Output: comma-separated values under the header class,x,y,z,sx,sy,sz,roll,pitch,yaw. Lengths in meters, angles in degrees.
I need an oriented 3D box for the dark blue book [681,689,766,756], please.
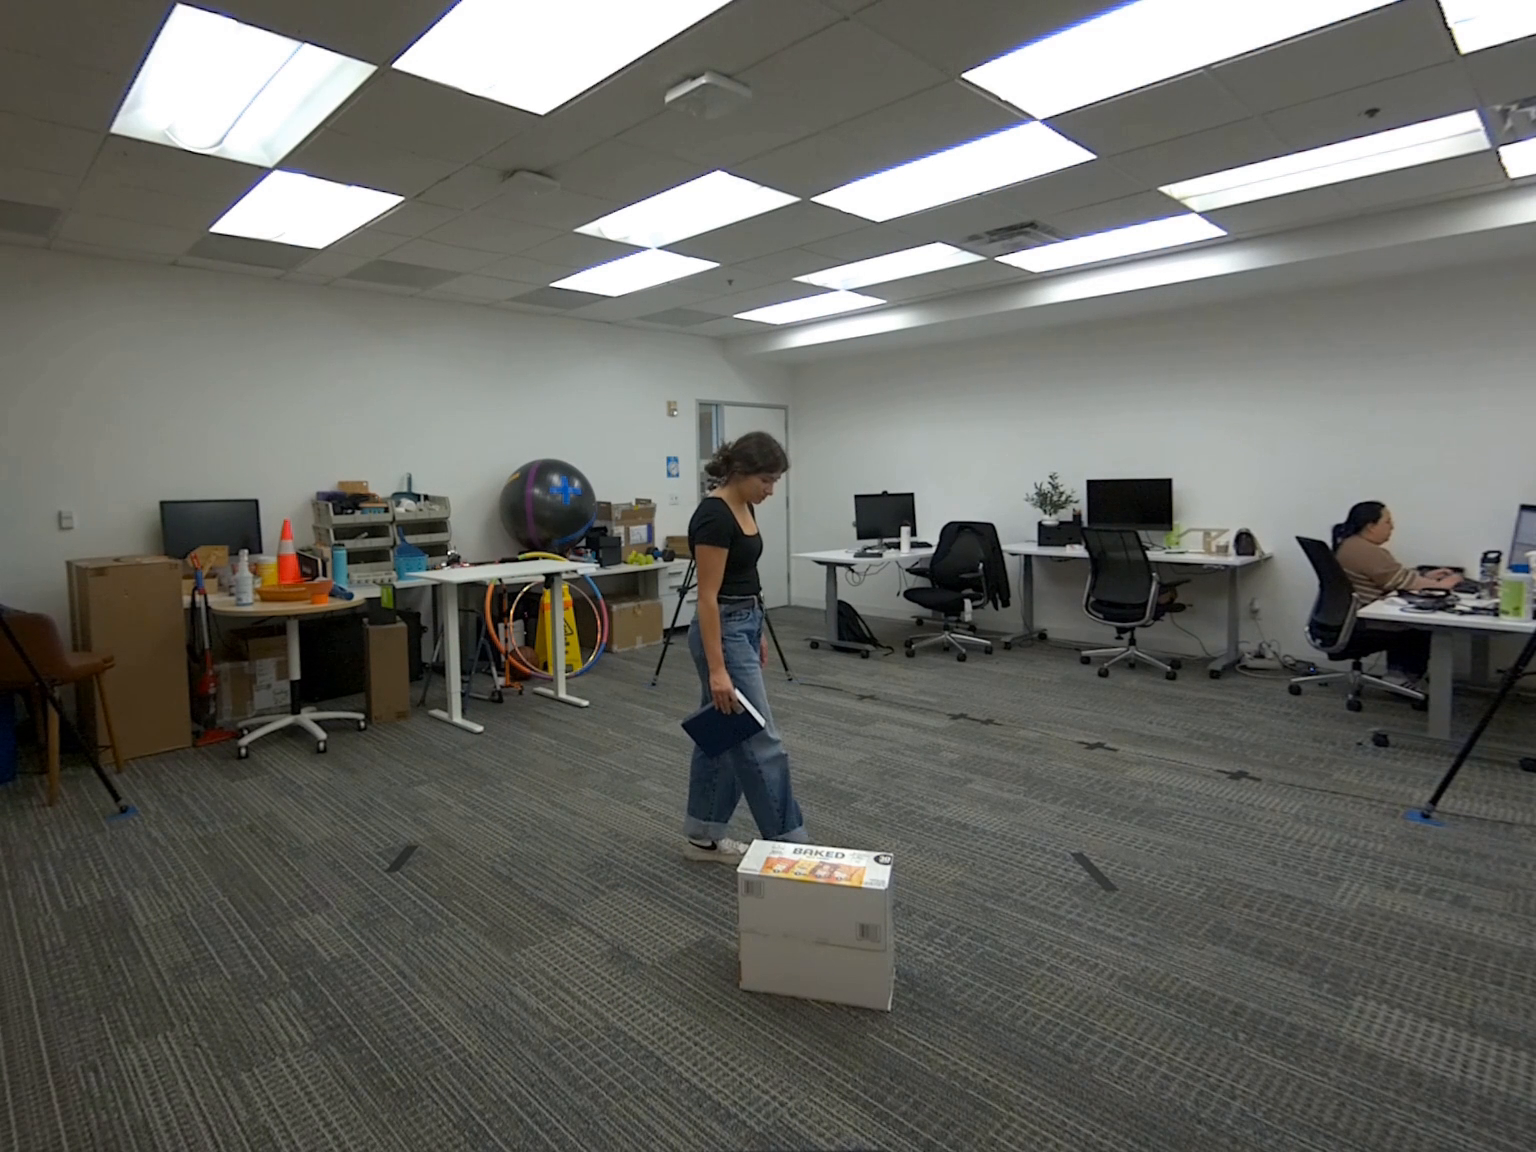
class,x,y,z,sx,sy,sz,roll,pitch,yaw
dark blue book,-0.144,0.501,2.859,0.246,0.161,0.045,-35,9,25
